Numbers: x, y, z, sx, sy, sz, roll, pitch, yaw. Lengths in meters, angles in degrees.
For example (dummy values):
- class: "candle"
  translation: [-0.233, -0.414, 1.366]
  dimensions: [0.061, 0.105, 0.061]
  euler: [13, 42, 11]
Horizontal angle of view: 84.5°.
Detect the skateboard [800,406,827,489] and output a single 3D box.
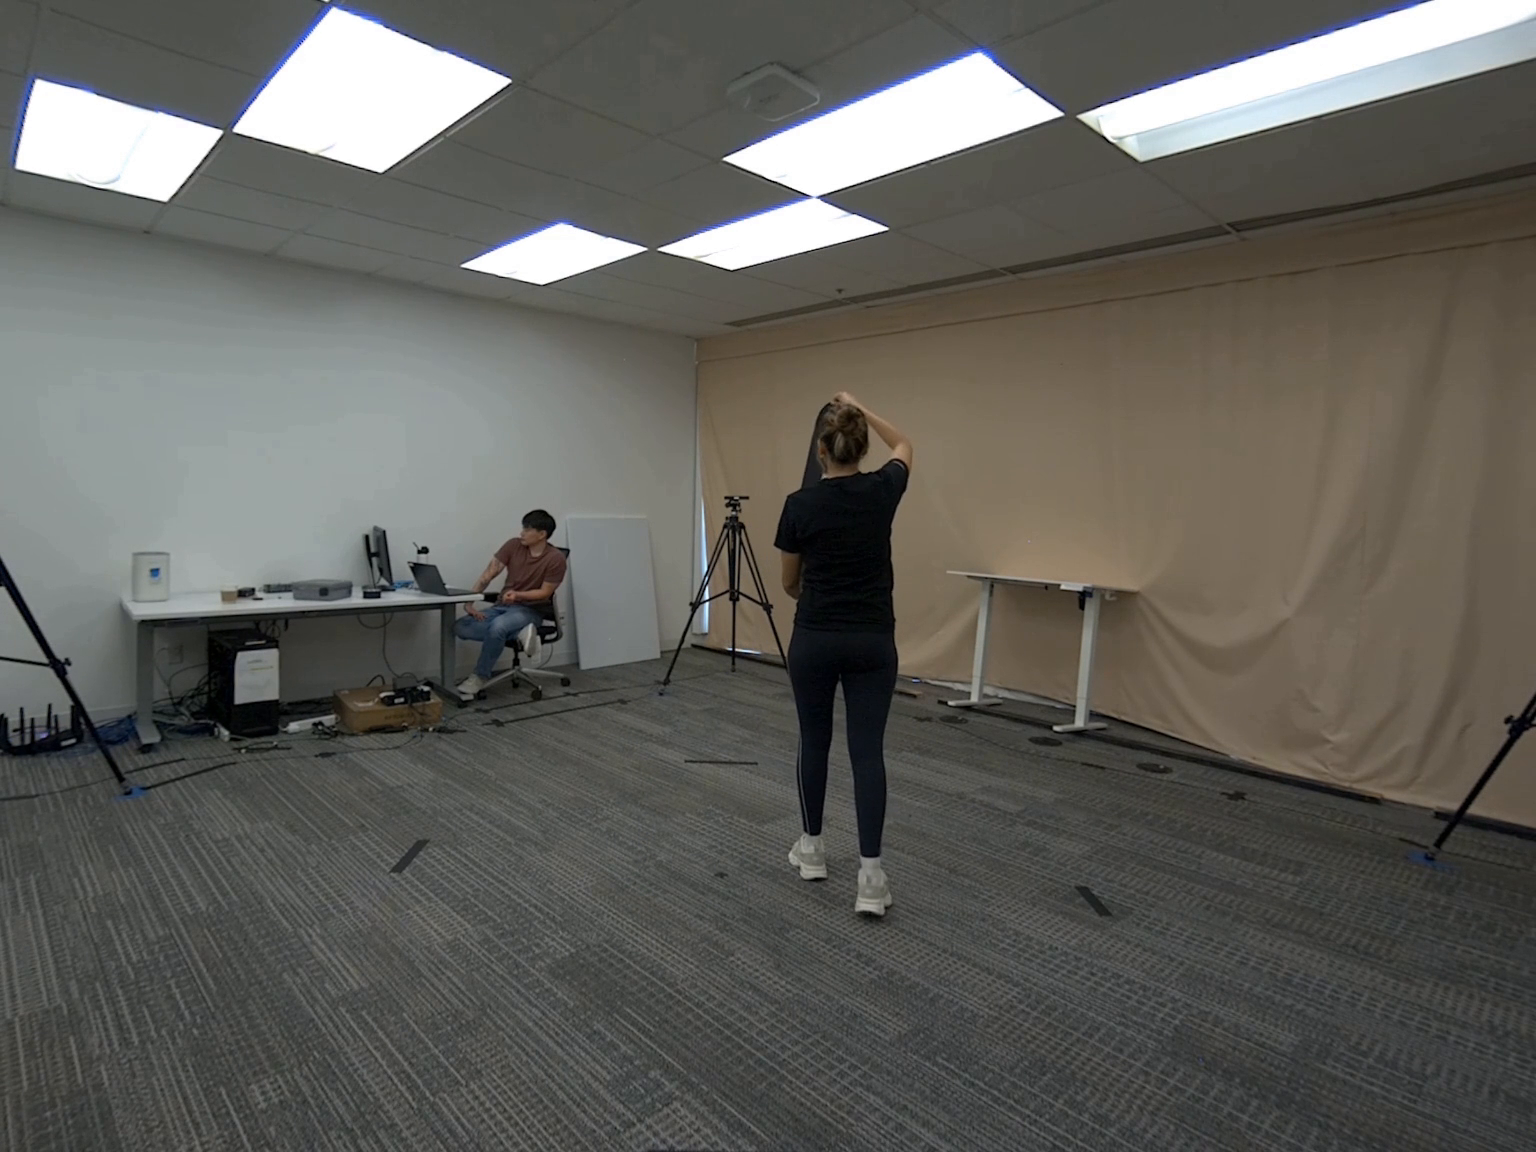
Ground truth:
- class: "skateboard"
  translation: [0.227, -0.311, 3.406]
  dimensions: [0.197, 0.782, 0.108]
  euler: [13, 6, 22]
